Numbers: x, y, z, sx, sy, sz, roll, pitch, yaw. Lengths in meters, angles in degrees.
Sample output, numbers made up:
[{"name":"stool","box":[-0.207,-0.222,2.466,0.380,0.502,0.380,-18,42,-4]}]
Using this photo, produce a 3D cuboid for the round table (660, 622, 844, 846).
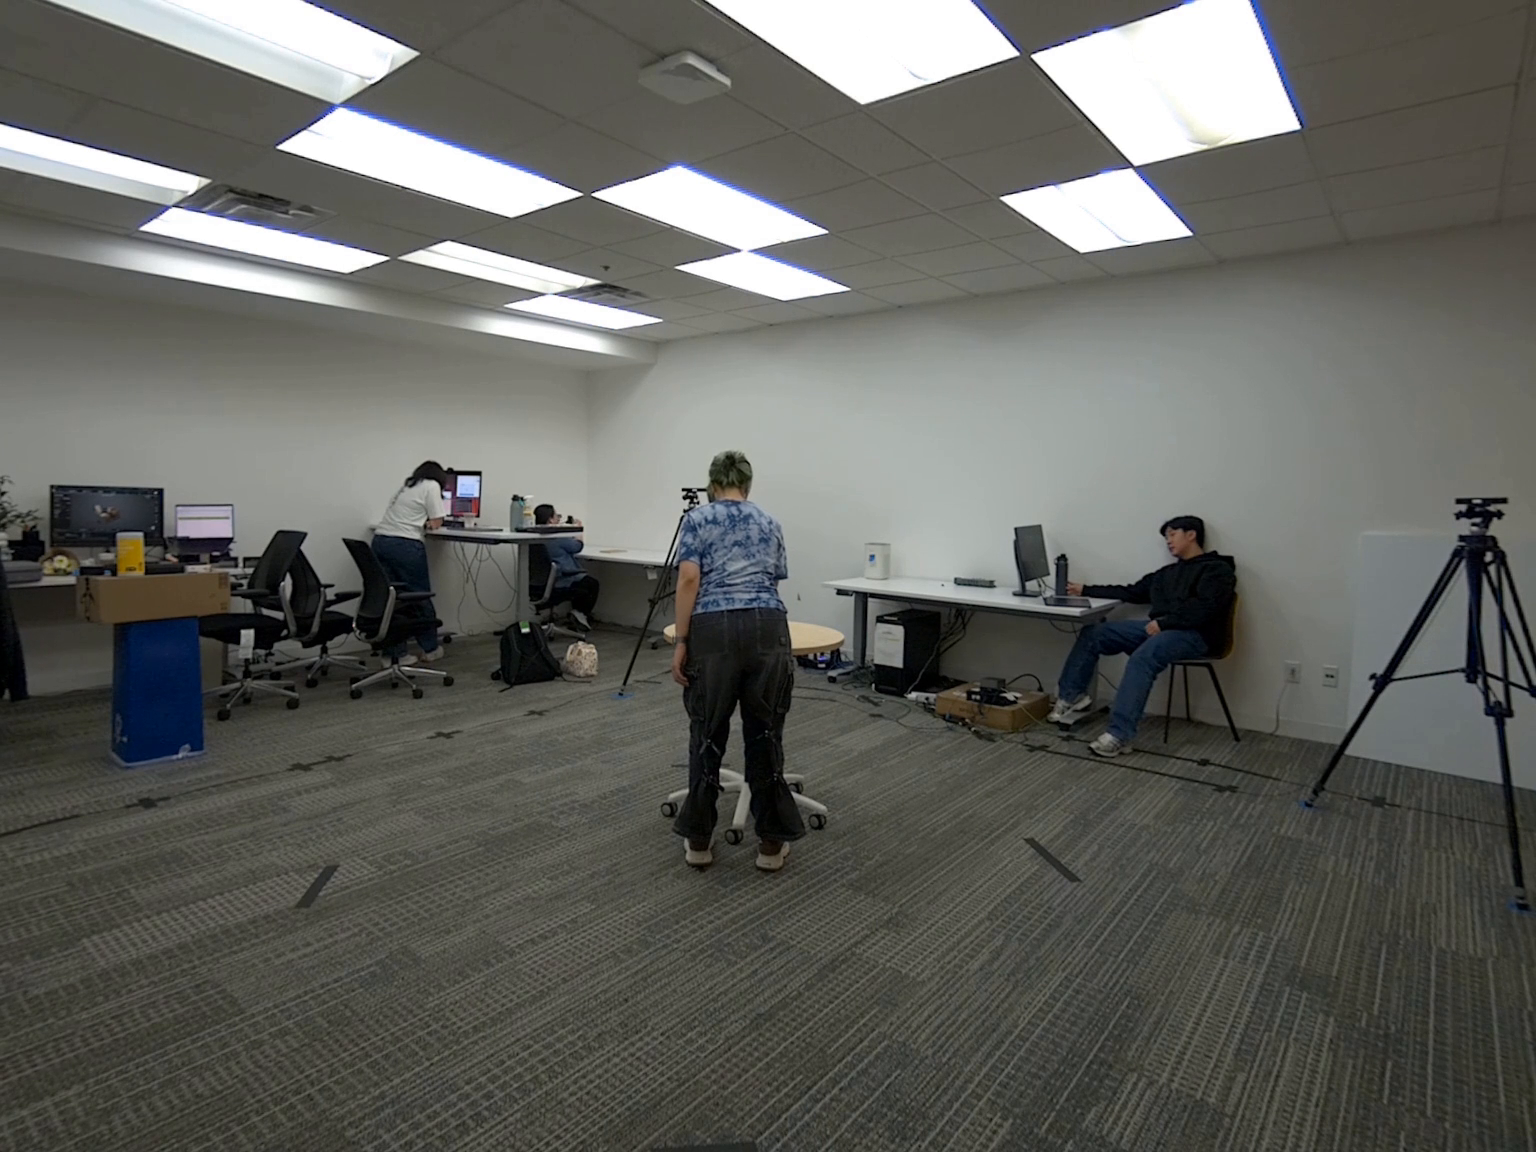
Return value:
[{"name":"round table","box":[-0.072,0.626,3.628,0.784,0.784,0.789,1,4,-2]}]
